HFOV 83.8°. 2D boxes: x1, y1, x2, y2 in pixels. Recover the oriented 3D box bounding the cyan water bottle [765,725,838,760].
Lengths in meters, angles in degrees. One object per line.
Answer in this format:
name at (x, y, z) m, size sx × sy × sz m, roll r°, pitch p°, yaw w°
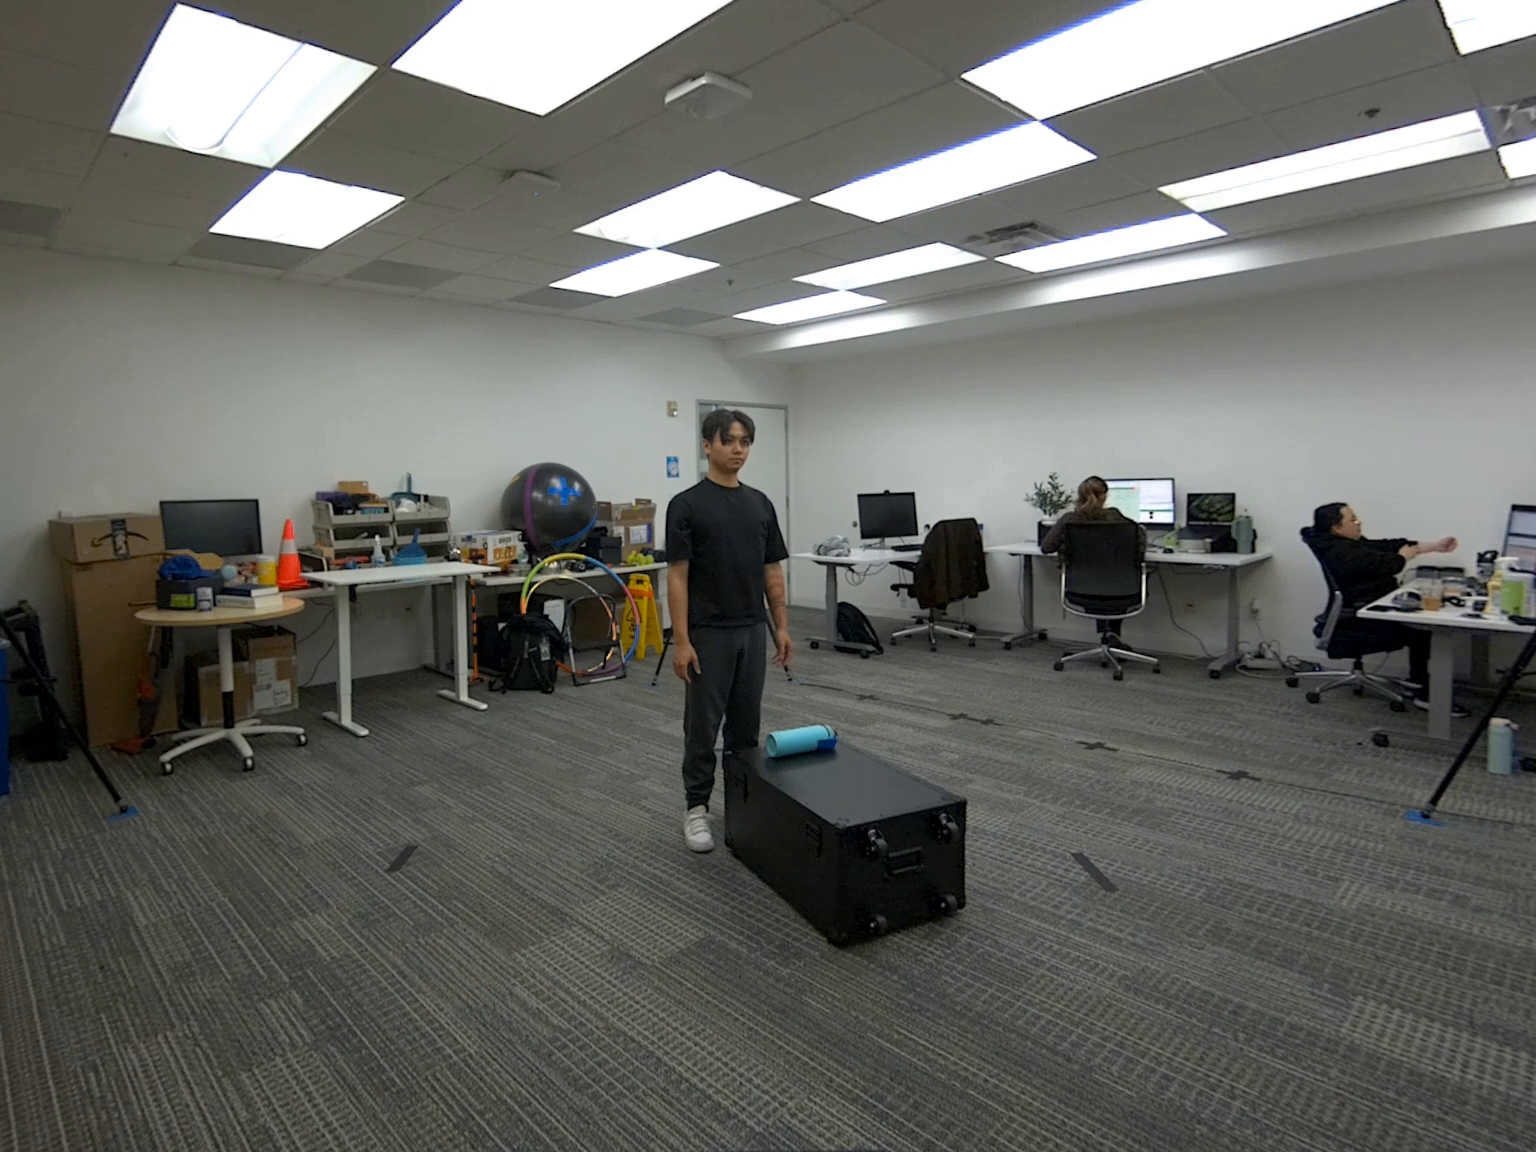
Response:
cyan water bottle at (0.133, 0.611, 3.186) m, size 0.277 × 0.092 × 0.095 m, roll -2°, pitch 5°, yaw -26°
